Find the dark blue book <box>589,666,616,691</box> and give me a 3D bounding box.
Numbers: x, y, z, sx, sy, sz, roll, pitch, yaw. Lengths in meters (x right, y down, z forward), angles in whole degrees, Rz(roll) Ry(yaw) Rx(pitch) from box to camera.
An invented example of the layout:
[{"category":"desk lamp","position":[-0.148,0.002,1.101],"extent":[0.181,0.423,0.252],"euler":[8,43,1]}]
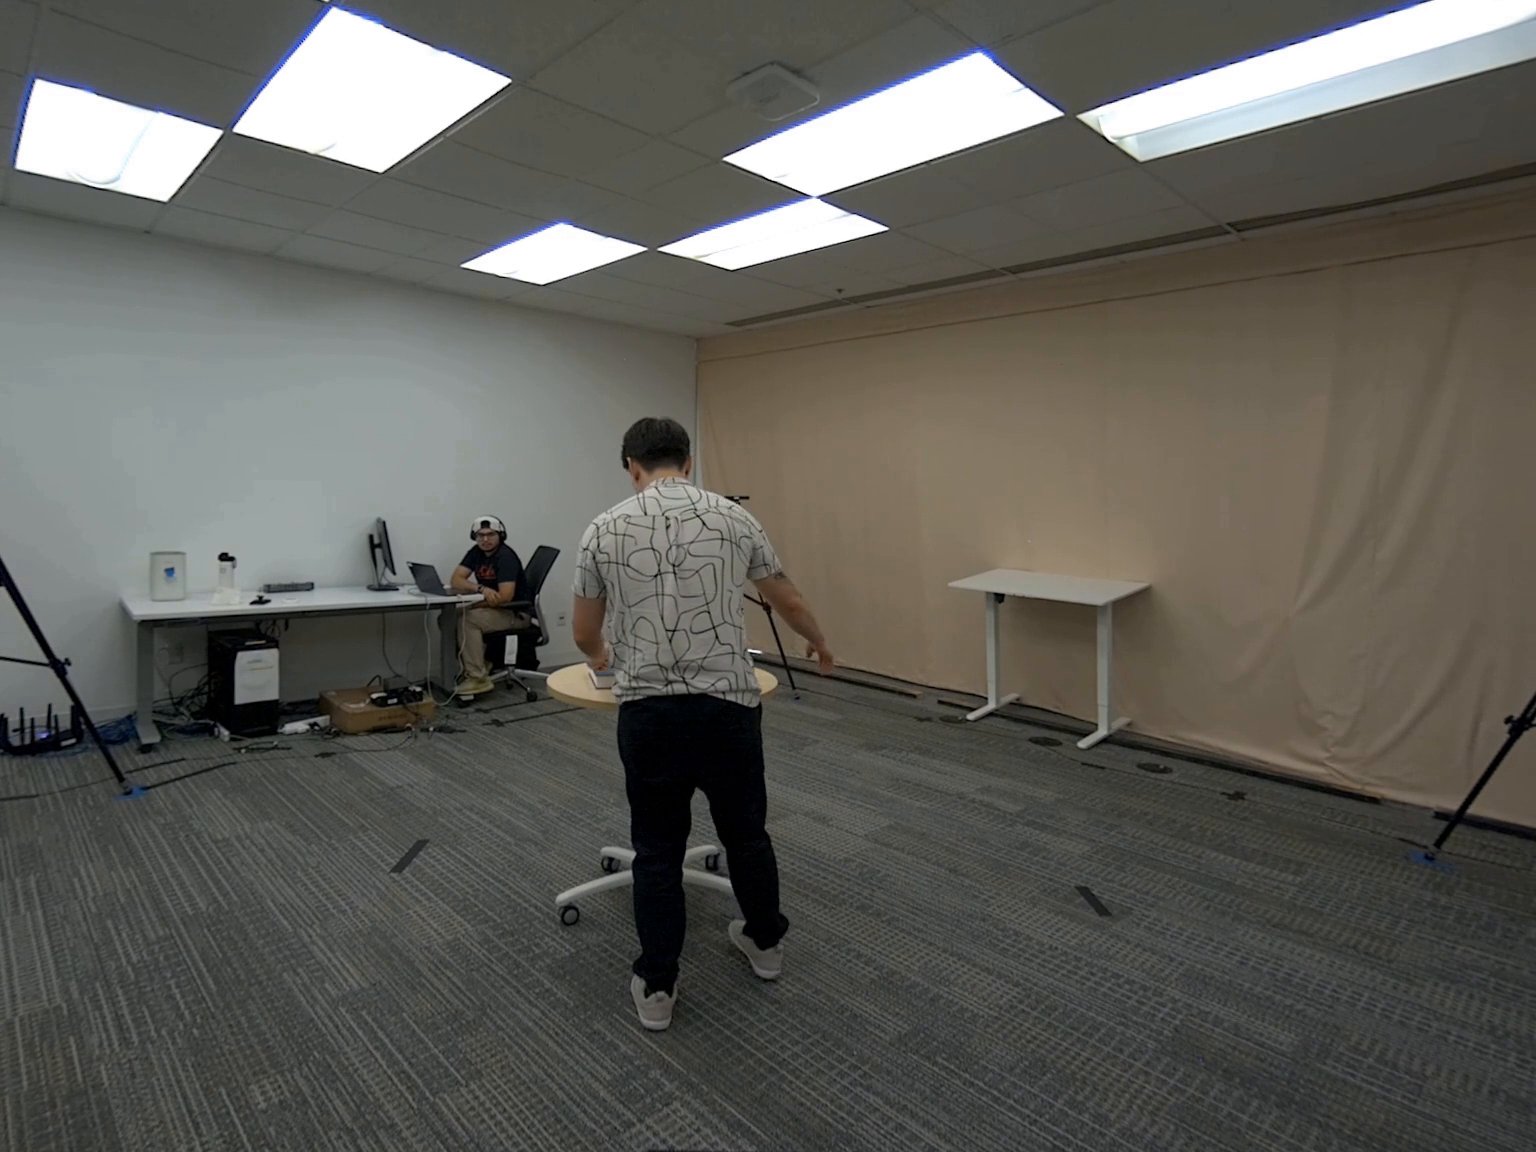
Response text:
[{"category":"dark blue book","position":[-0.506,0.325,2.766],"extent":[0.161,0.045,0.249],"euler":[0,5,-16]}]
